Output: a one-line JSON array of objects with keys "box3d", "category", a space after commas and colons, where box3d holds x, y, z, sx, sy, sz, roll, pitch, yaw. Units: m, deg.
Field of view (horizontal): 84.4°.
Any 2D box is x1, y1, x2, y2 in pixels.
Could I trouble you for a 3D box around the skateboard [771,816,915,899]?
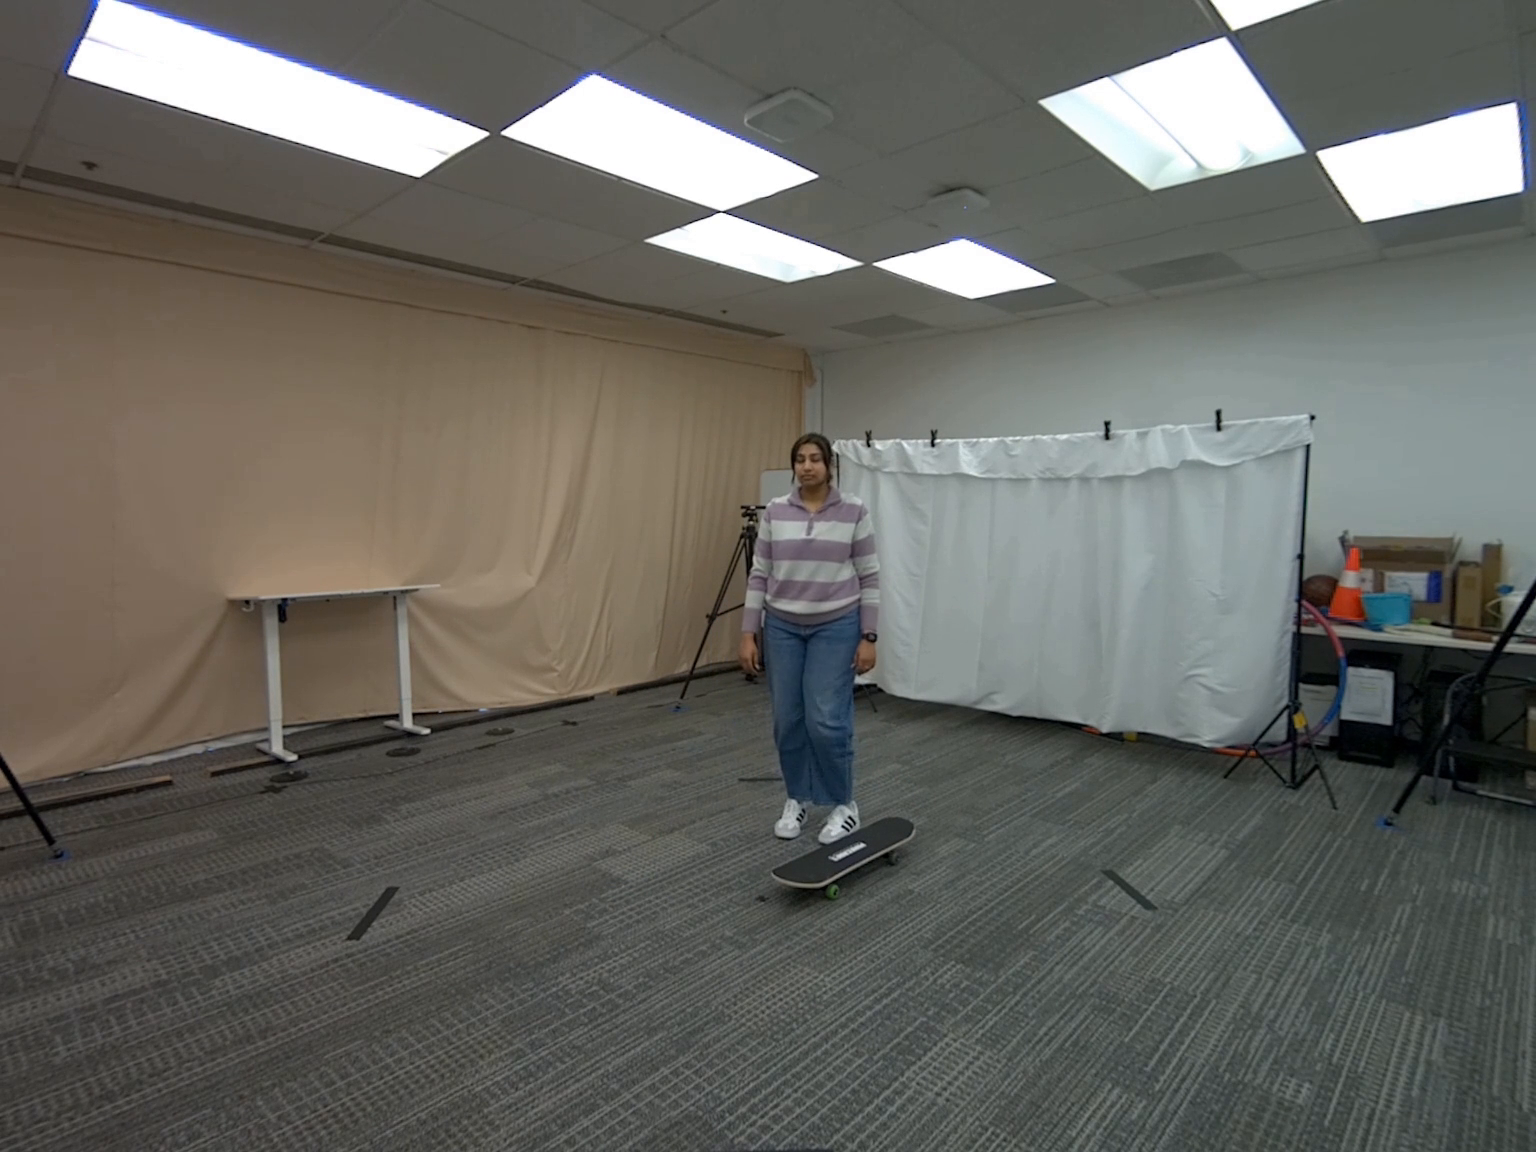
[{"box3d": [0.299, 1.066, 3.177, 0.200, 0.110, 0.762, 4, 6, 42], "category": "skateboard"}]
